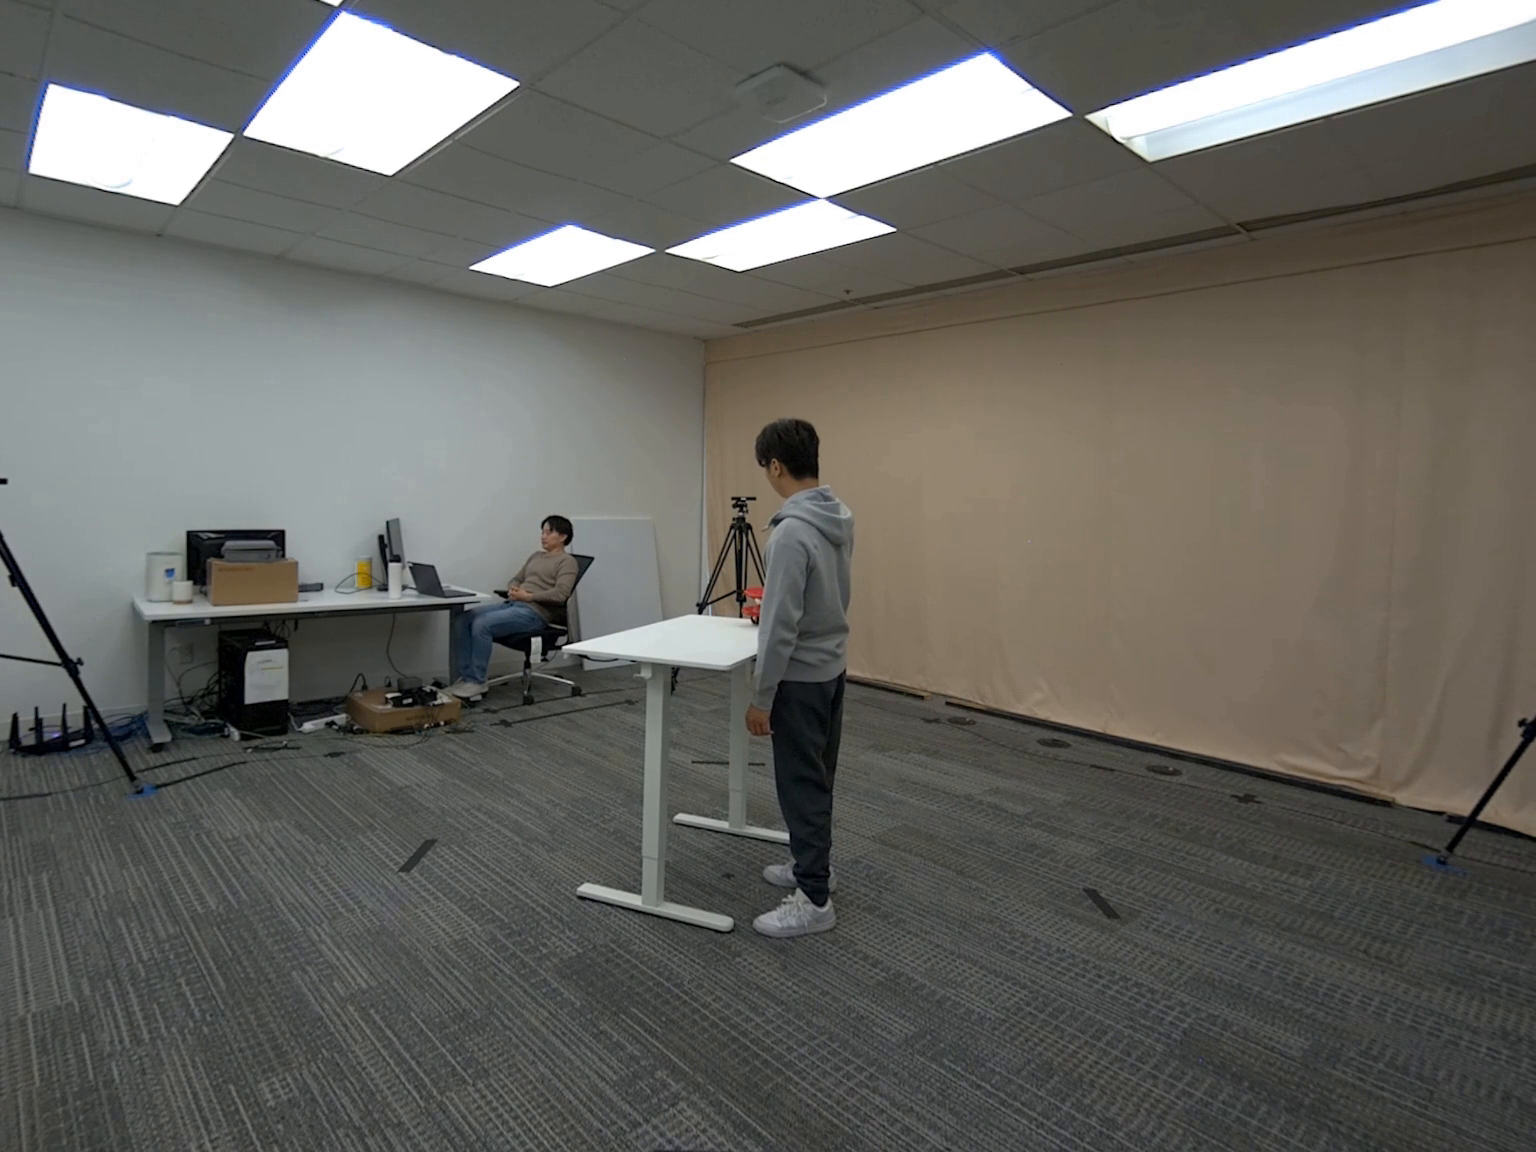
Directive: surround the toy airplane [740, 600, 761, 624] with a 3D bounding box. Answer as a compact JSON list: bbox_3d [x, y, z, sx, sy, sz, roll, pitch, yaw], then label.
[{"bbox_3d":[0.043,0.129,3.411,0.265,0.156,0.247,2,6,30],"label":"toy airplane"}]
